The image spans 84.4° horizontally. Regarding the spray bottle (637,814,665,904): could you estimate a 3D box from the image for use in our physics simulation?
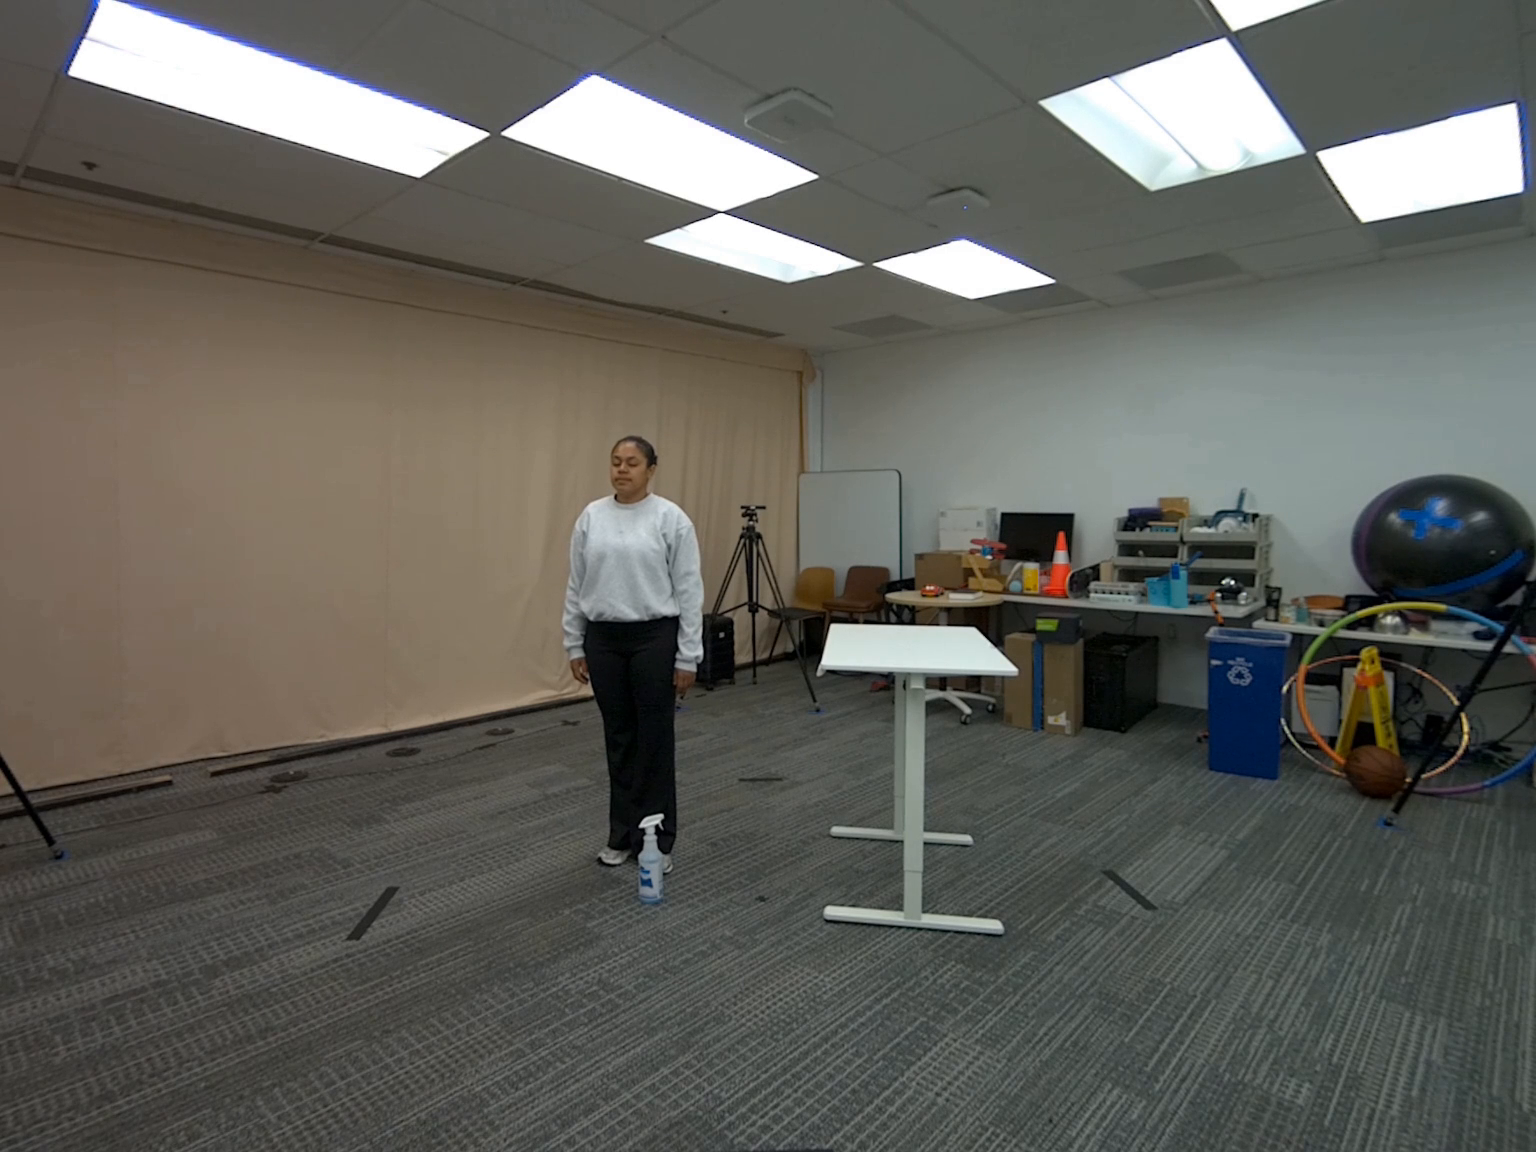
[{"bbox_3d":[-0.414,0.998,2.981,0.090,0.297,0.087,2,2,-3],"label":"spray bottle"}]
